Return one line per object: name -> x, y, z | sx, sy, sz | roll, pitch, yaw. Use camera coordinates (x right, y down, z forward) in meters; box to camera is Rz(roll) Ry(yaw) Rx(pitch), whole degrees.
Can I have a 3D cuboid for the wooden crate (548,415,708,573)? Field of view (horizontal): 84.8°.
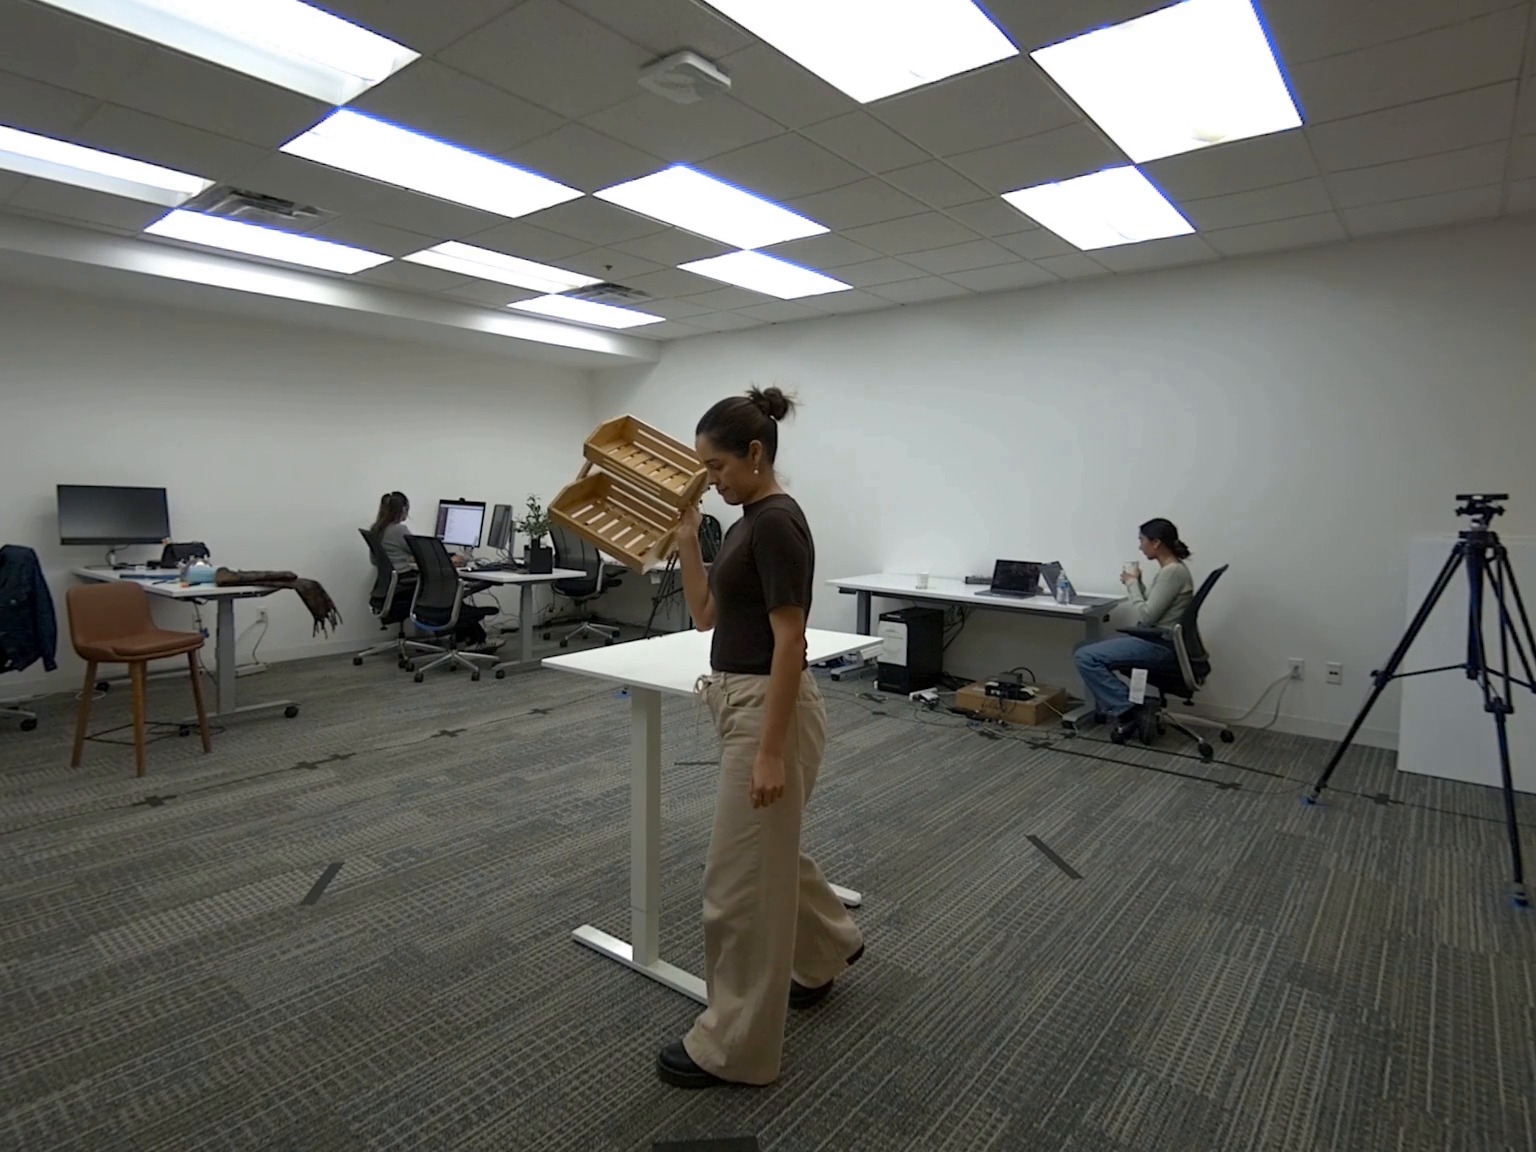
wooden crate -> -0.367, -0.230, 2.268 | 0.330, 0.270, 0.301 | 29, 28, 10
